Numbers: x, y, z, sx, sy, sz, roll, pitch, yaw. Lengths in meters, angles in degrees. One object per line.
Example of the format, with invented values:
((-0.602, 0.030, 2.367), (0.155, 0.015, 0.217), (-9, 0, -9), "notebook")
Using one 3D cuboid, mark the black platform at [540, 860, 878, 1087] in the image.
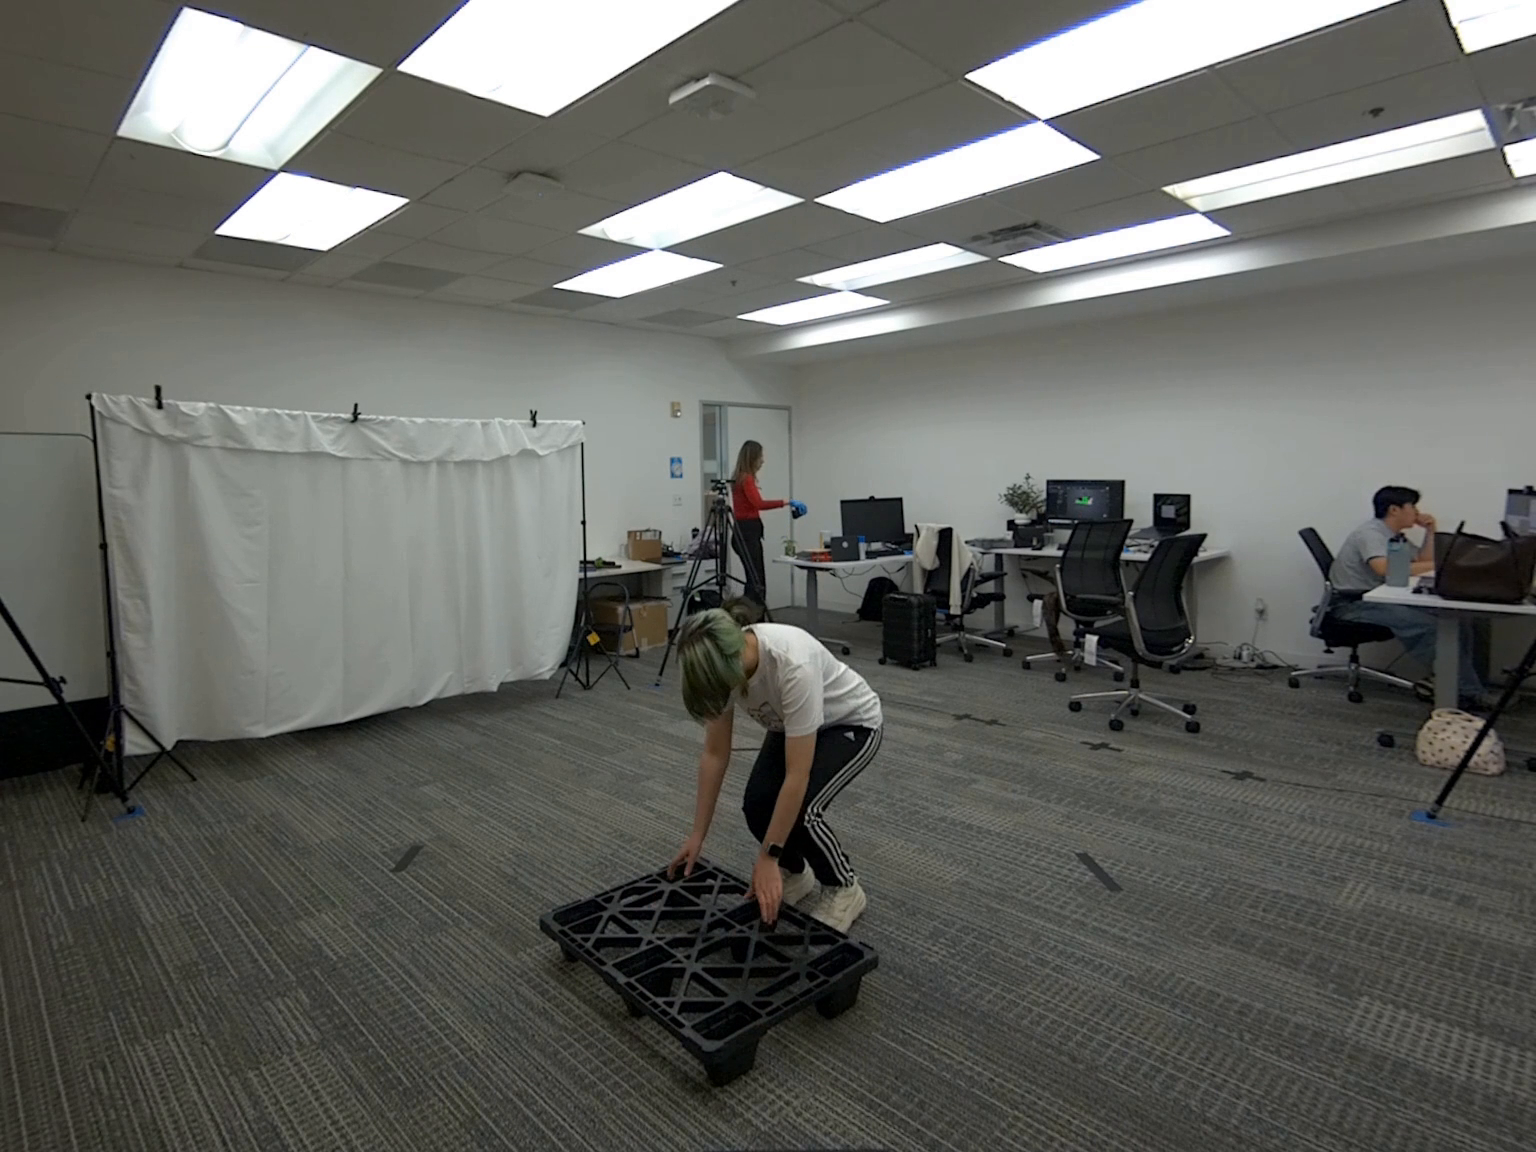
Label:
((-0.186, 1.070, 2.402), (0.589, 0.142, 0.831), (-6, 8, -41), "black platform")
